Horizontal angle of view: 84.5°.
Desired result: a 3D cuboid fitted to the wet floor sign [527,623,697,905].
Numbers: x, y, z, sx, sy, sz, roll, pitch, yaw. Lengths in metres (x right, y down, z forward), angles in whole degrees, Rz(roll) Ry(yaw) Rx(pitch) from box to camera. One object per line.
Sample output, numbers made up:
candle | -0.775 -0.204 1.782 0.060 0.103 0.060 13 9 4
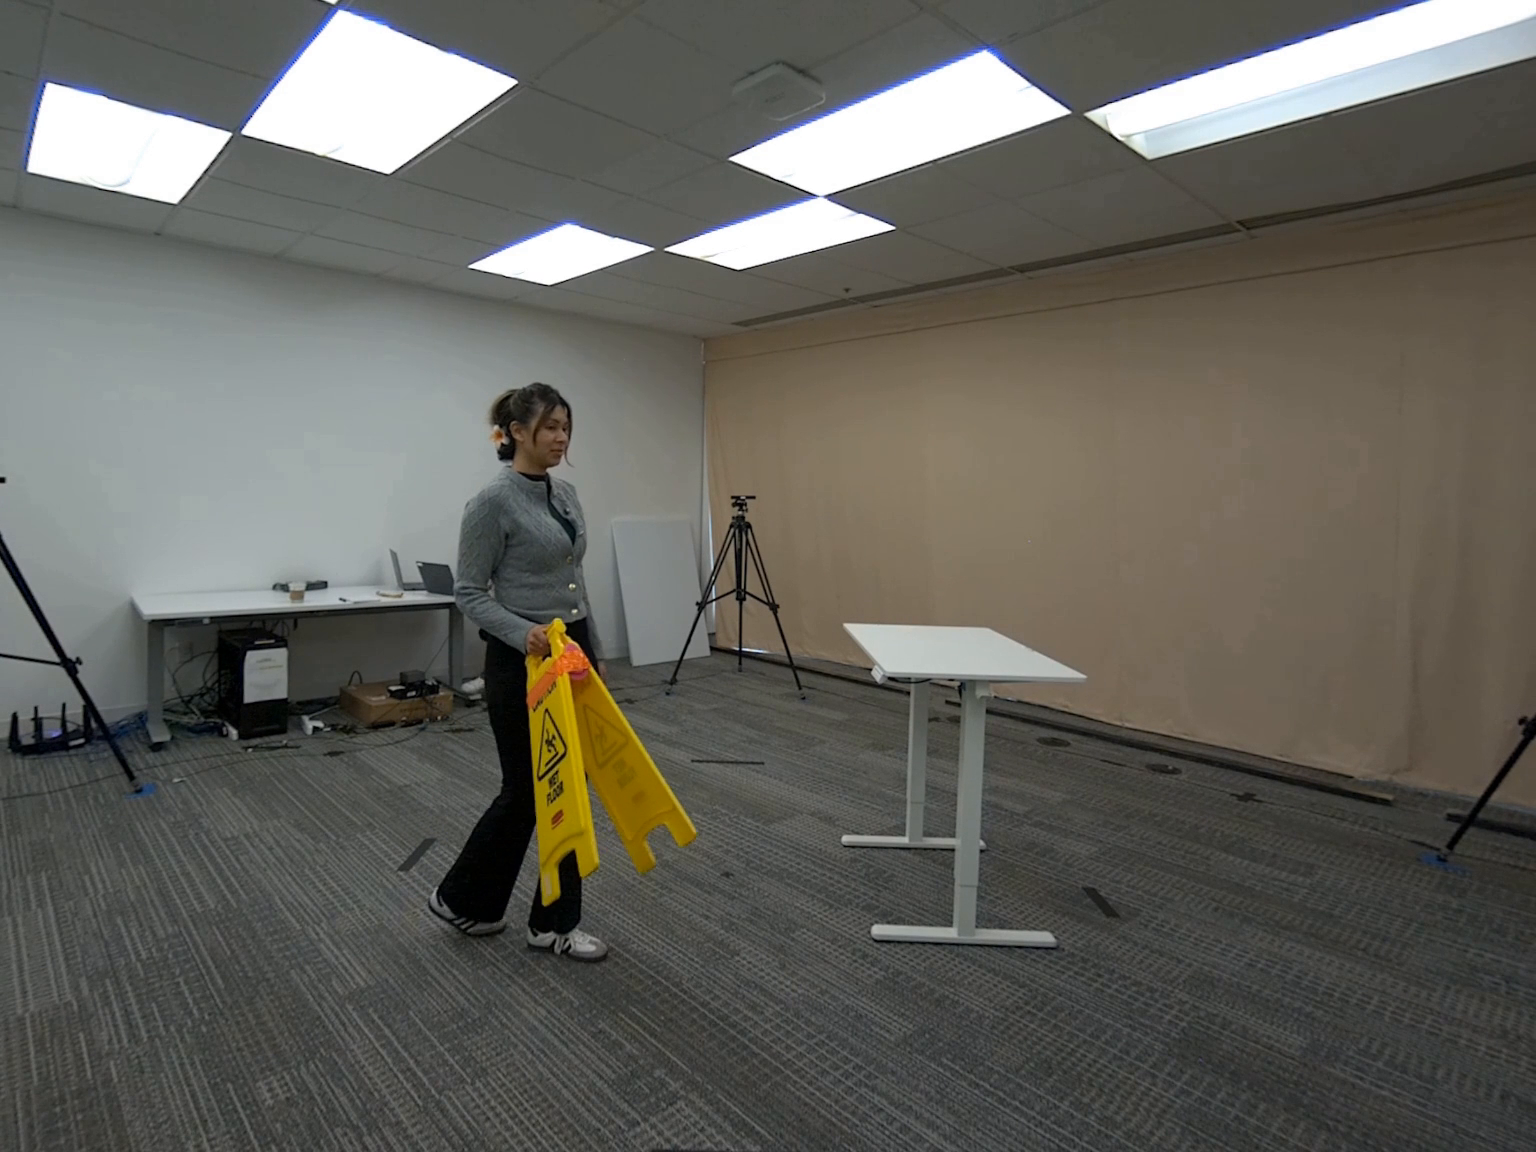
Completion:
wet floor sign | -0.479 0.433 2.120 0.283 0.661 0.282 -2 -33 -42
